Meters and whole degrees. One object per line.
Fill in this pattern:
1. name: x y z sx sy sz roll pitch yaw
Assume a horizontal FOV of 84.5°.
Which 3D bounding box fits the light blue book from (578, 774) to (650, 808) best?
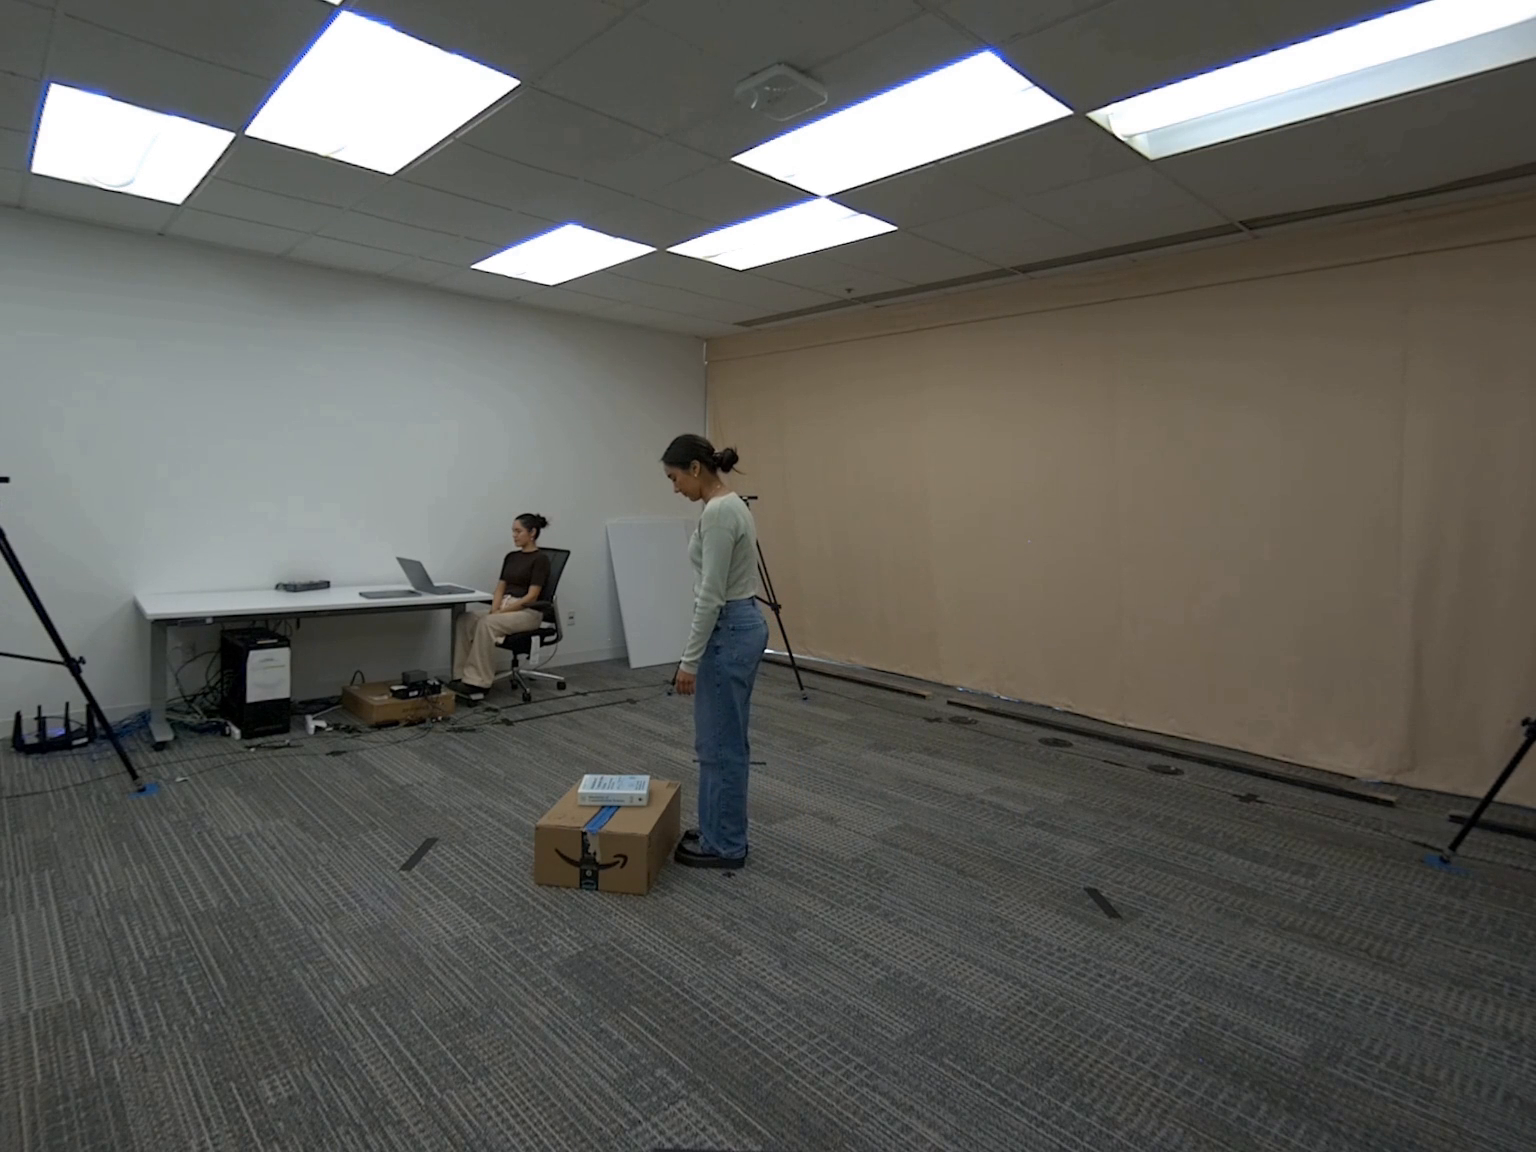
1. light blue book: -0.598 0.829 3.284 0.261 0.059 0.192 2 6 -2
